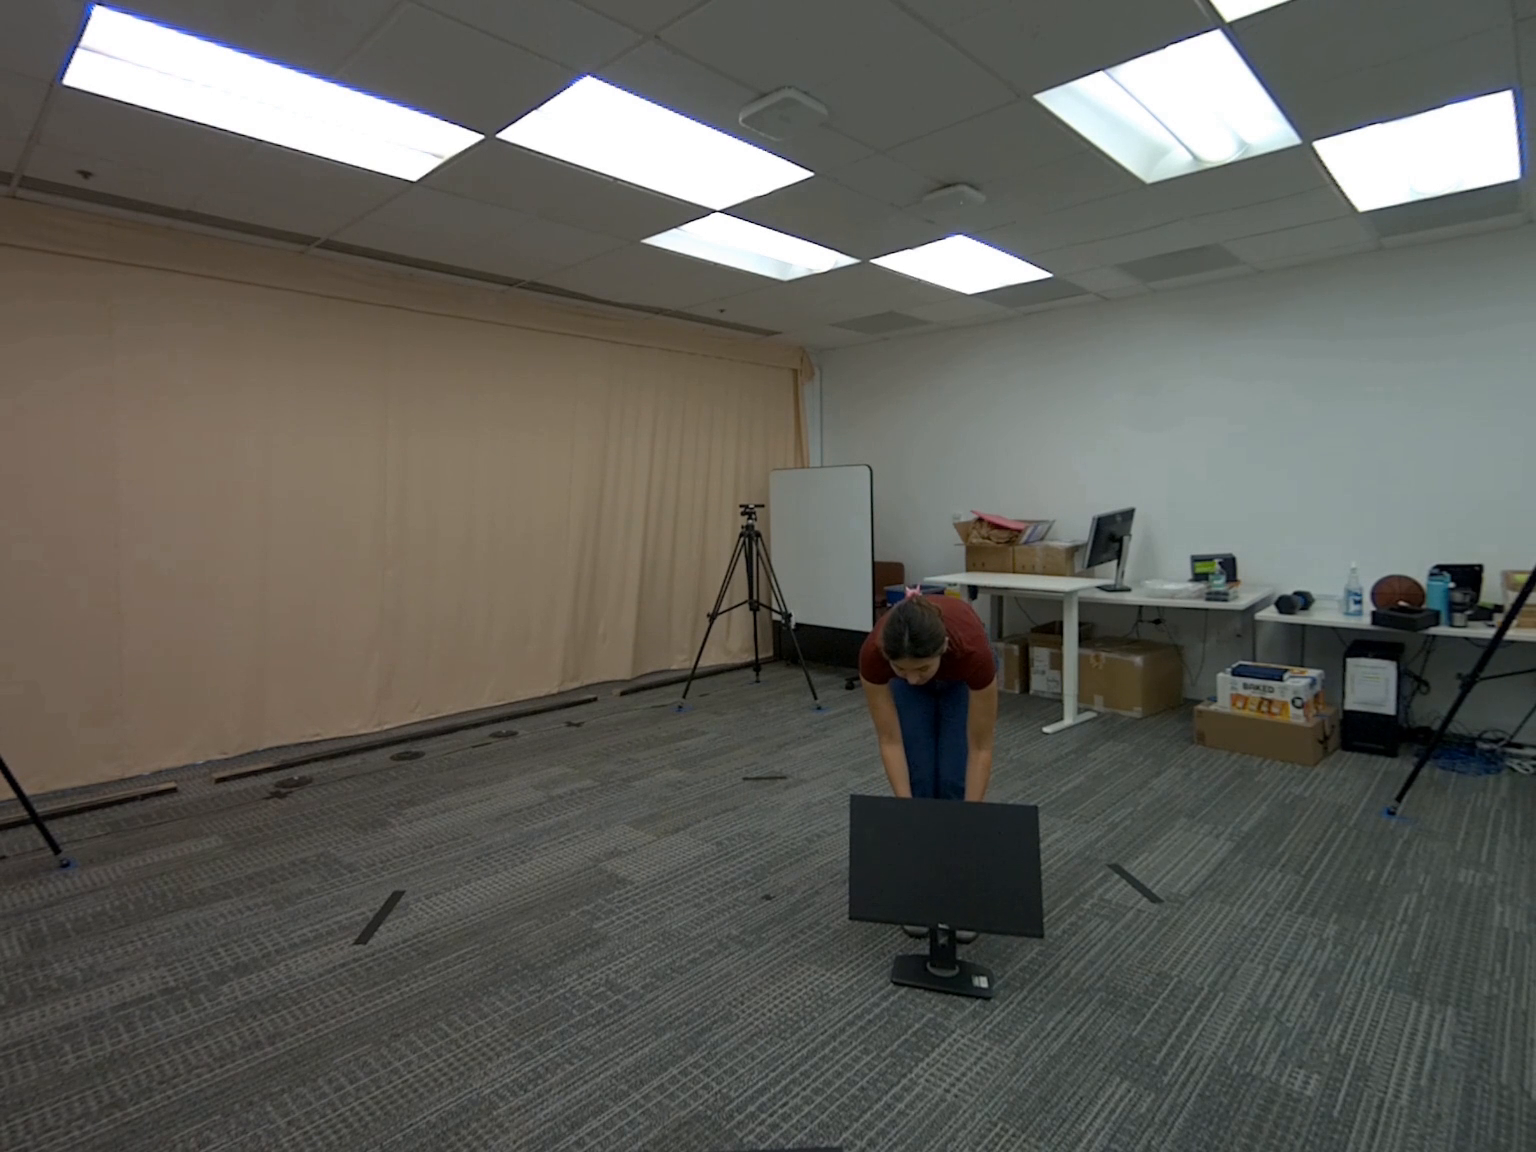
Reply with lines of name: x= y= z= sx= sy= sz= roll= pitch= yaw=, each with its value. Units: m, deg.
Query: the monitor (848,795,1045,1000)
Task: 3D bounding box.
monitor: x=0.508 y=0.921 z=2.463 sx=0.547 sy=0.522 sz=0.184 roll=0 pitch=0 yaw=13
